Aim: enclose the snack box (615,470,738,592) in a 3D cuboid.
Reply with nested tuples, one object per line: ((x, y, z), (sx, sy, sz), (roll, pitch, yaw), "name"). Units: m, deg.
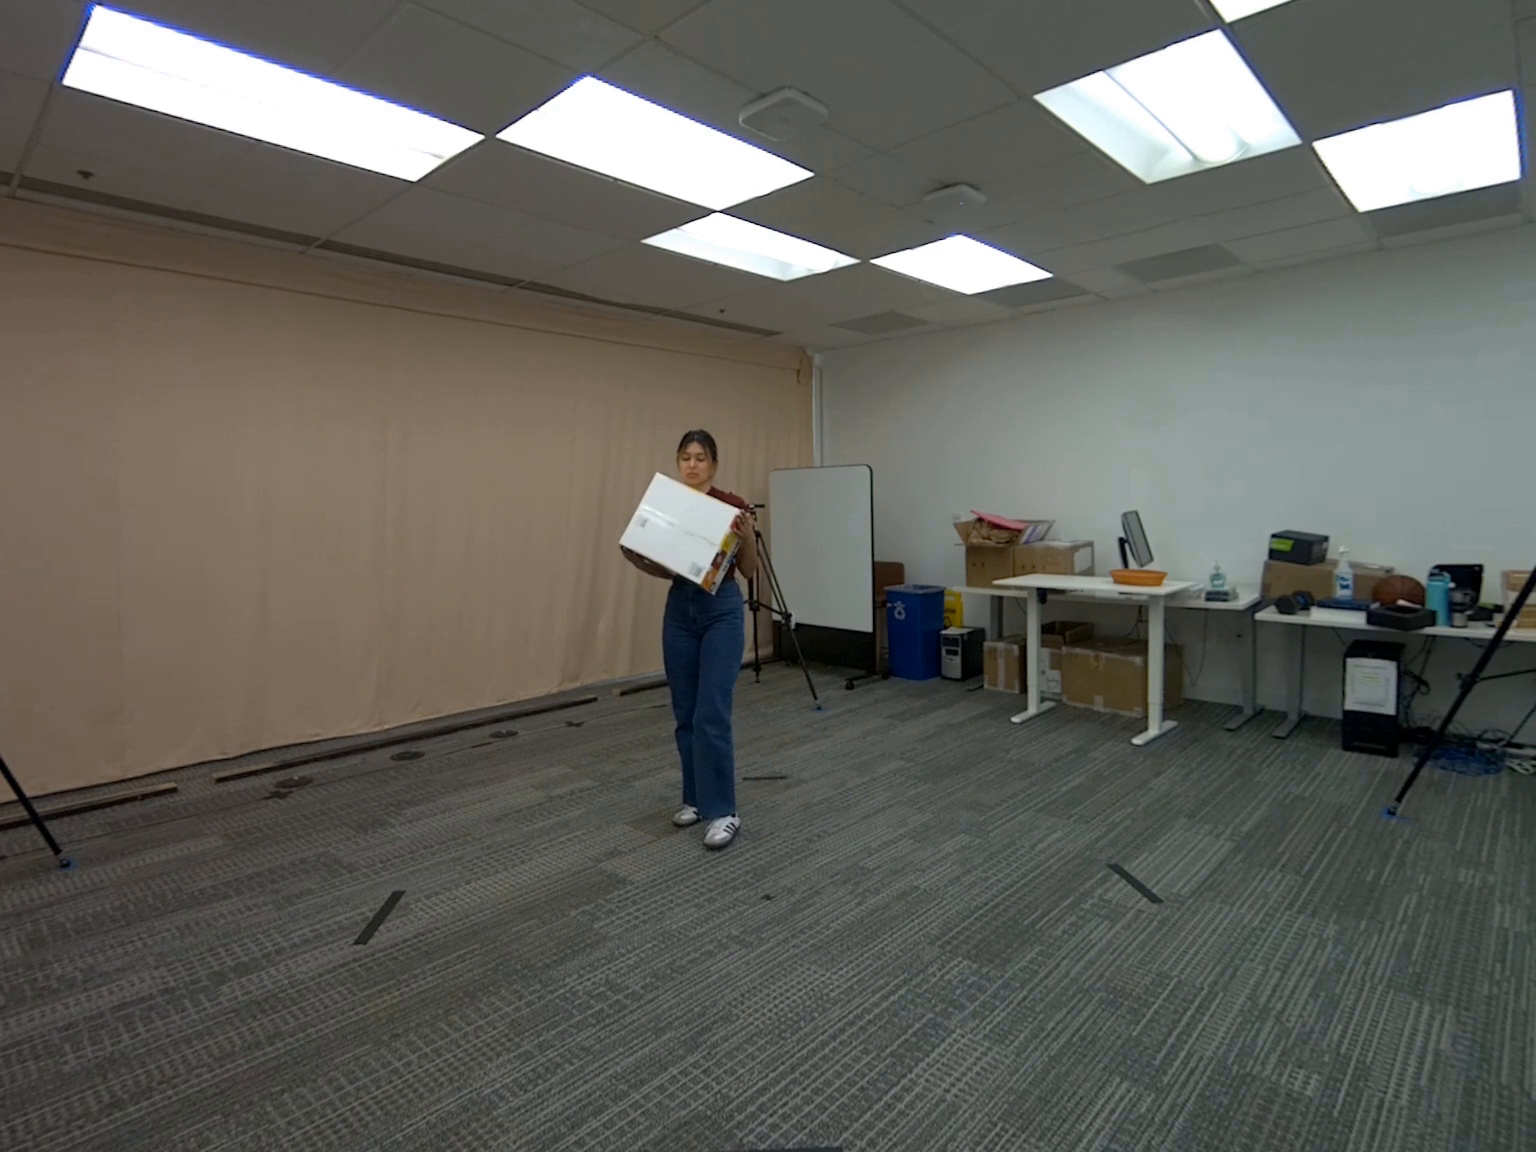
((-0.343, -0.178, 3.459), (0.415, 0.340, 0.200), (25, -6, 20), "snack box")
